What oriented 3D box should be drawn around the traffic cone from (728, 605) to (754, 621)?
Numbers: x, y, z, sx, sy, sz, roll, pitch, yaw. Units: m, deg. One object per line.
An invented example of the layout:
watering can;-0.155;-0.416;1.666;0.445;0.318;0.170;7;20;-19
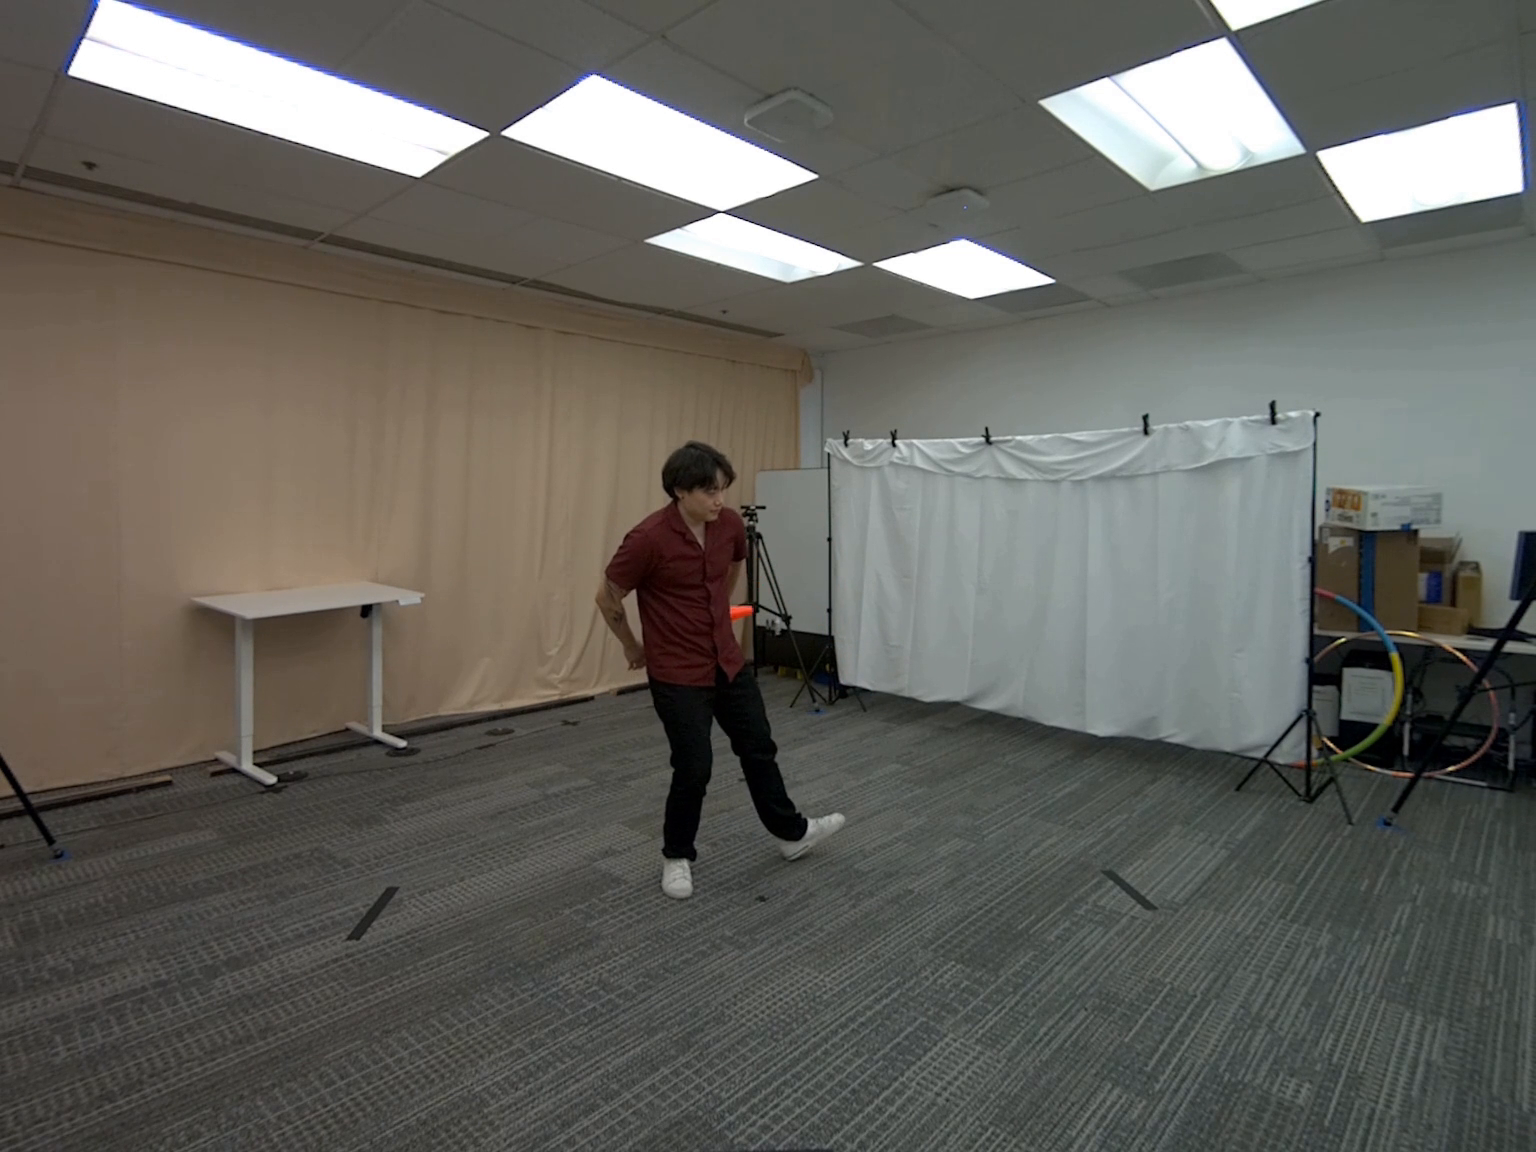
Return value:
traffic cone;-0.243;0.174;3.546;0.378;0.210;0.201;-9;-36;-16
